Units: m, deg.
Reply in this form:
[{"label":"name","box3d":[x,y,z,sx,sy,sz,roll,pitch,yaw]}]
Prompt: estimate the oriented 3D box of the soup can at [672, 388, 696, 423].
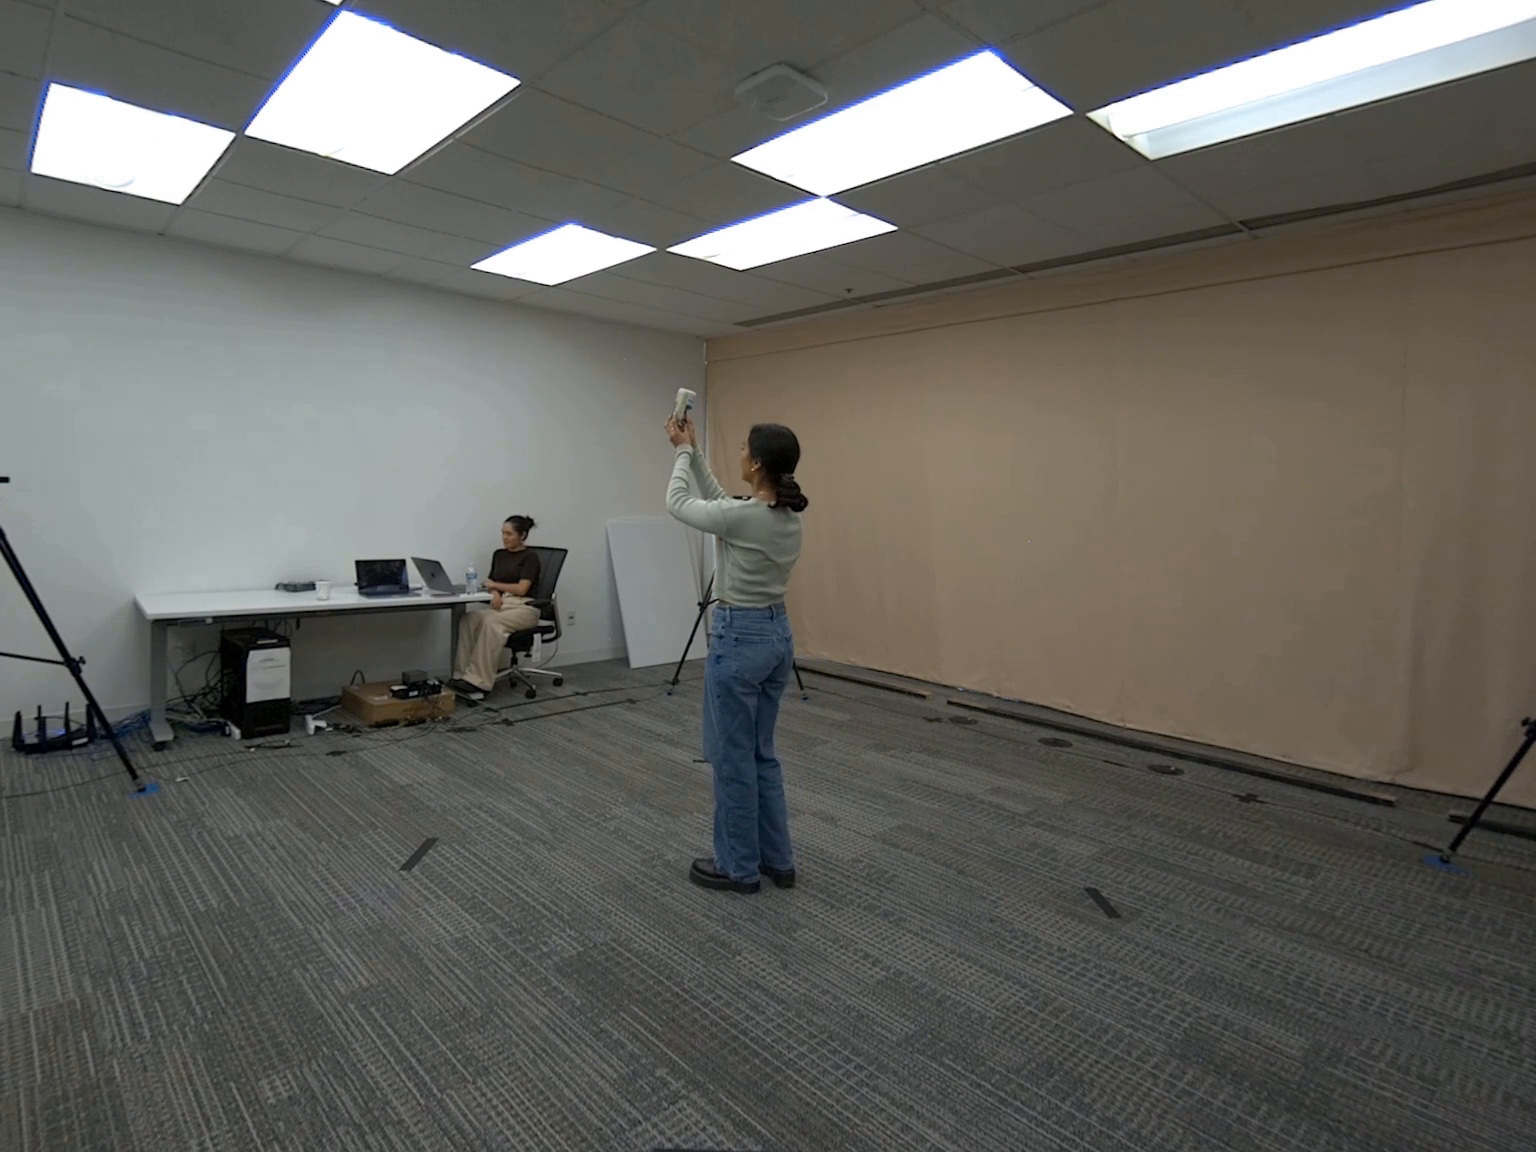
[{"label":"soup can","box3d":[-0.315,-0.632,3.134,0.067,0.121,0.067,17,4,-3]}]
